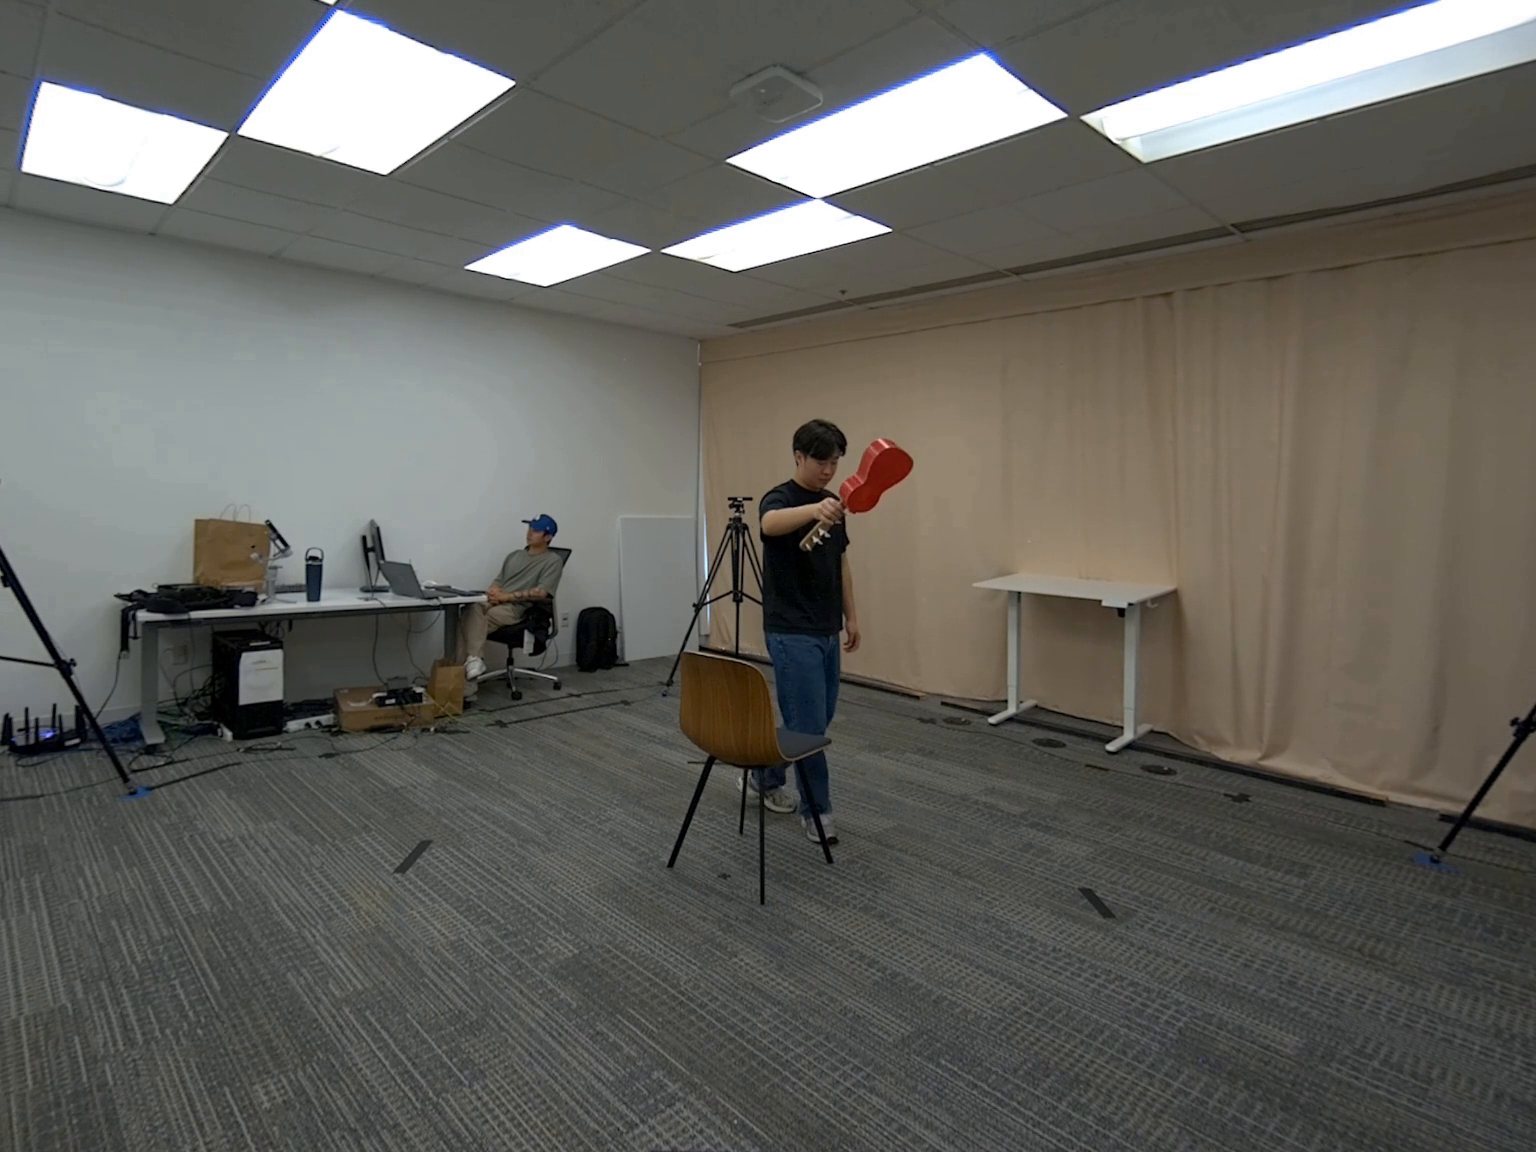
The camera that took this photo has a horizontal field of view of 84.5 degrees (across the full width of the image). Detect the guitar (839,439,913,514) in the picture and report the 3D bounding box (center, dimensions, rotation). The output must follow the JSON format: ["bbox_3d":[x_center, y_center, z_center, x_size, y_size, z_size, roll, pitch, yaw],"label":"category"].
[{"bbox_3d":[0.308,-0.242,2.958,0.188,0.496,0.073,12,33,-41],"label":"guitar"}]
